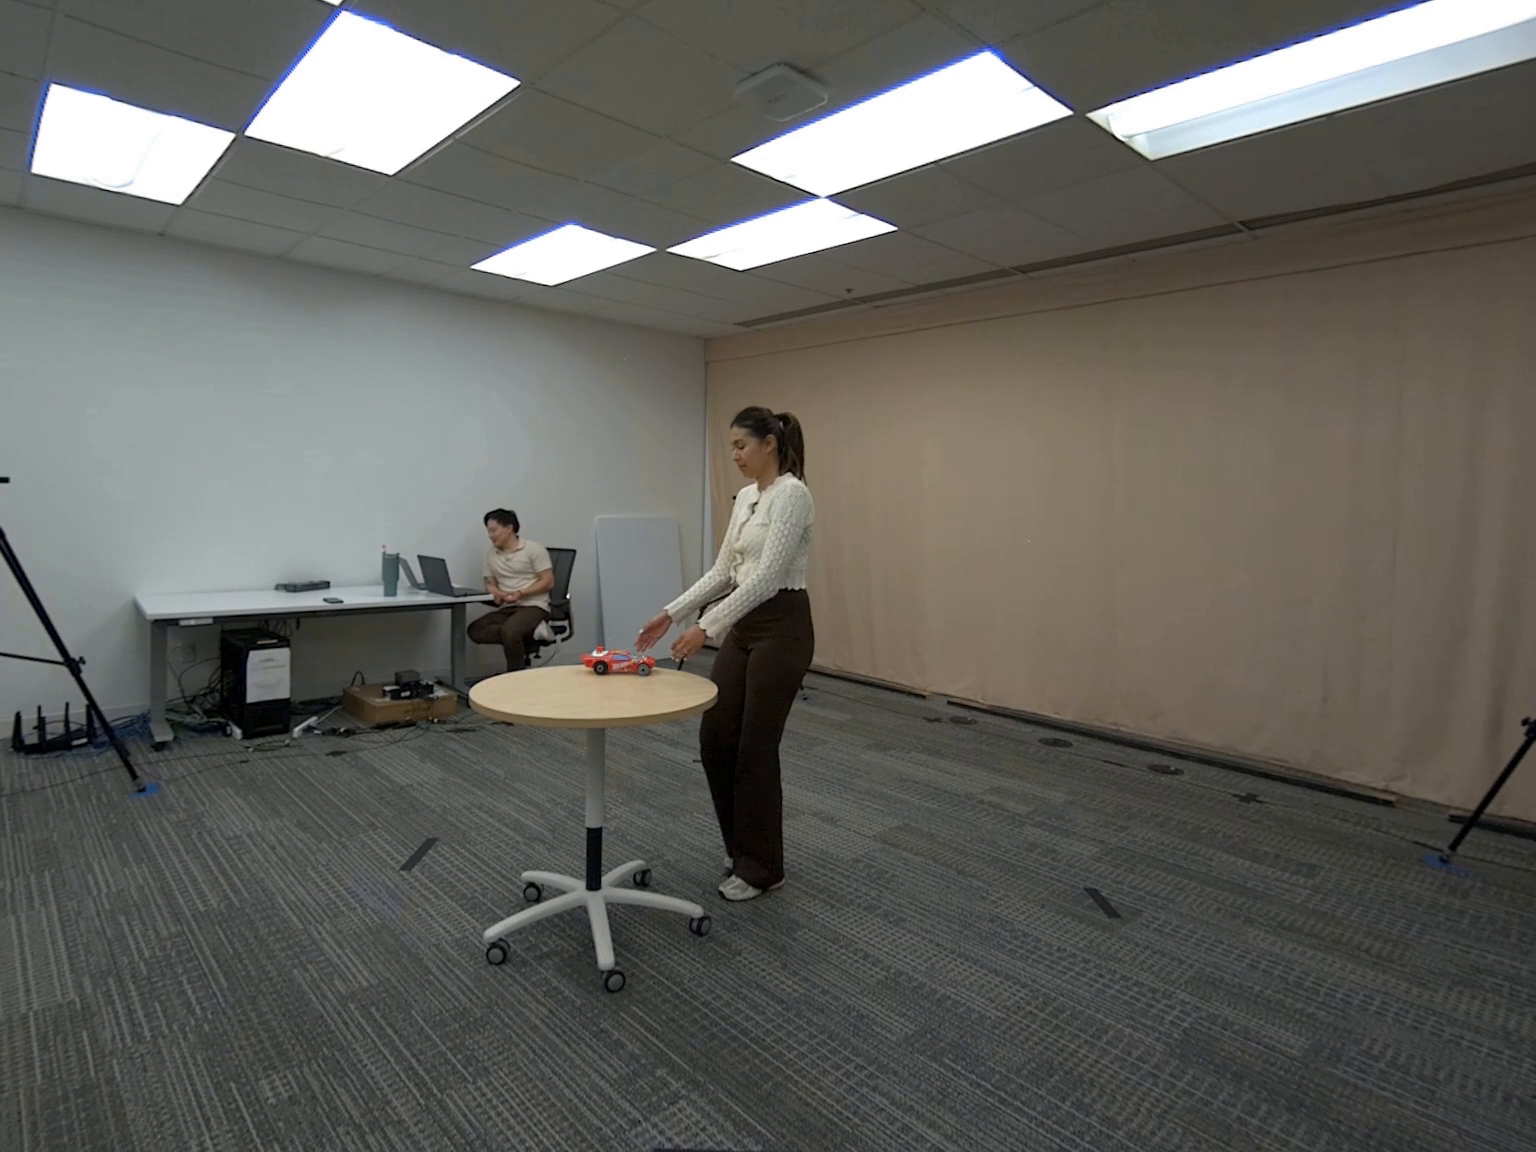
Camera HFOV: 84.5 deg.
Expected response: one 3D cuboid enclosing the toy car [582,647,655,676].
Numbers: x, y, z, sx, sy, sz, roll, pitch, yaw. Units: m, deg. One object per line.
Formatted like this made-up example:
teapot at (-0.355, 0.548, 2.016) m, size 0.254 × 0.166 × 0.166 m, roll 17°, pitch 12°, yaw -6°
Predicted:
toy car at (-0.522, 0.298, 2.892) m, size 0.254 × 0.083 × 0.131 m, roll 13°, pitch 3°, yaw -2°
